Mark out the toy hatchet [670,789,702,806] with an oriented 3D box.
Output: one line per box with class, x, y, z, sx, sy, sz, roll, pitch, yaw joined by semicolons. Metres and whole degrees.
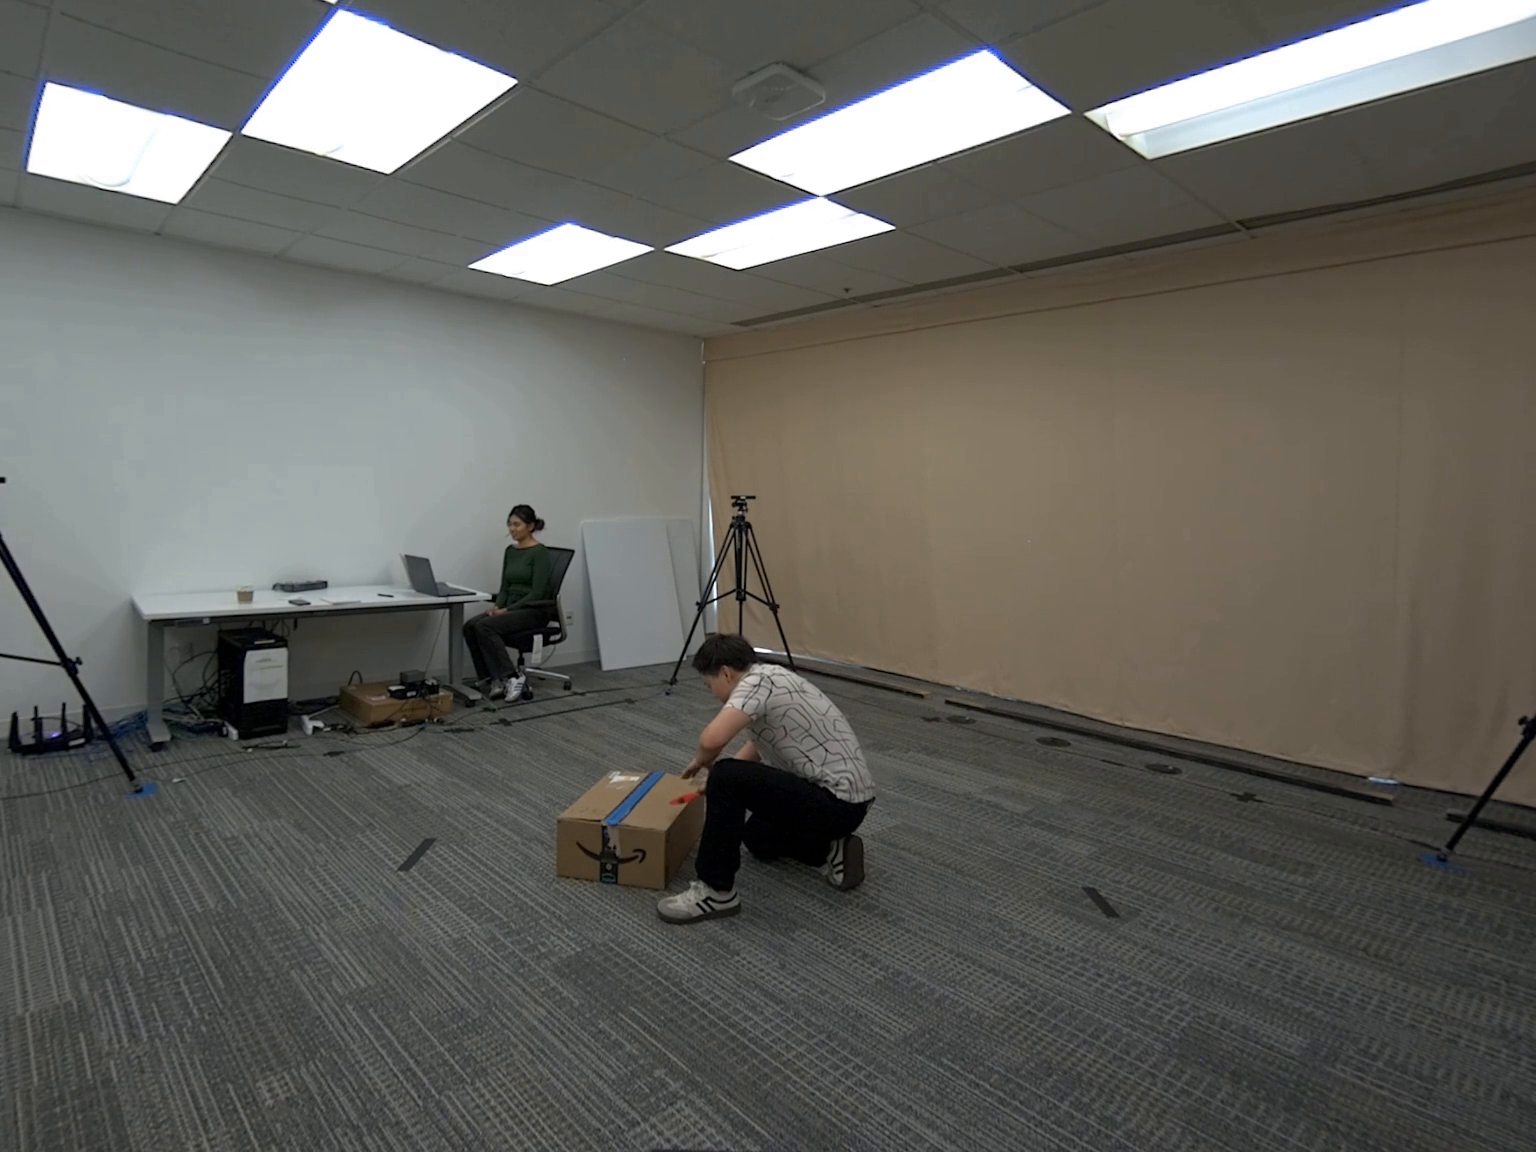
toy hatchet;-0.302;0.826;3.178;0.131;0.030;0.266;-21;-11;3
